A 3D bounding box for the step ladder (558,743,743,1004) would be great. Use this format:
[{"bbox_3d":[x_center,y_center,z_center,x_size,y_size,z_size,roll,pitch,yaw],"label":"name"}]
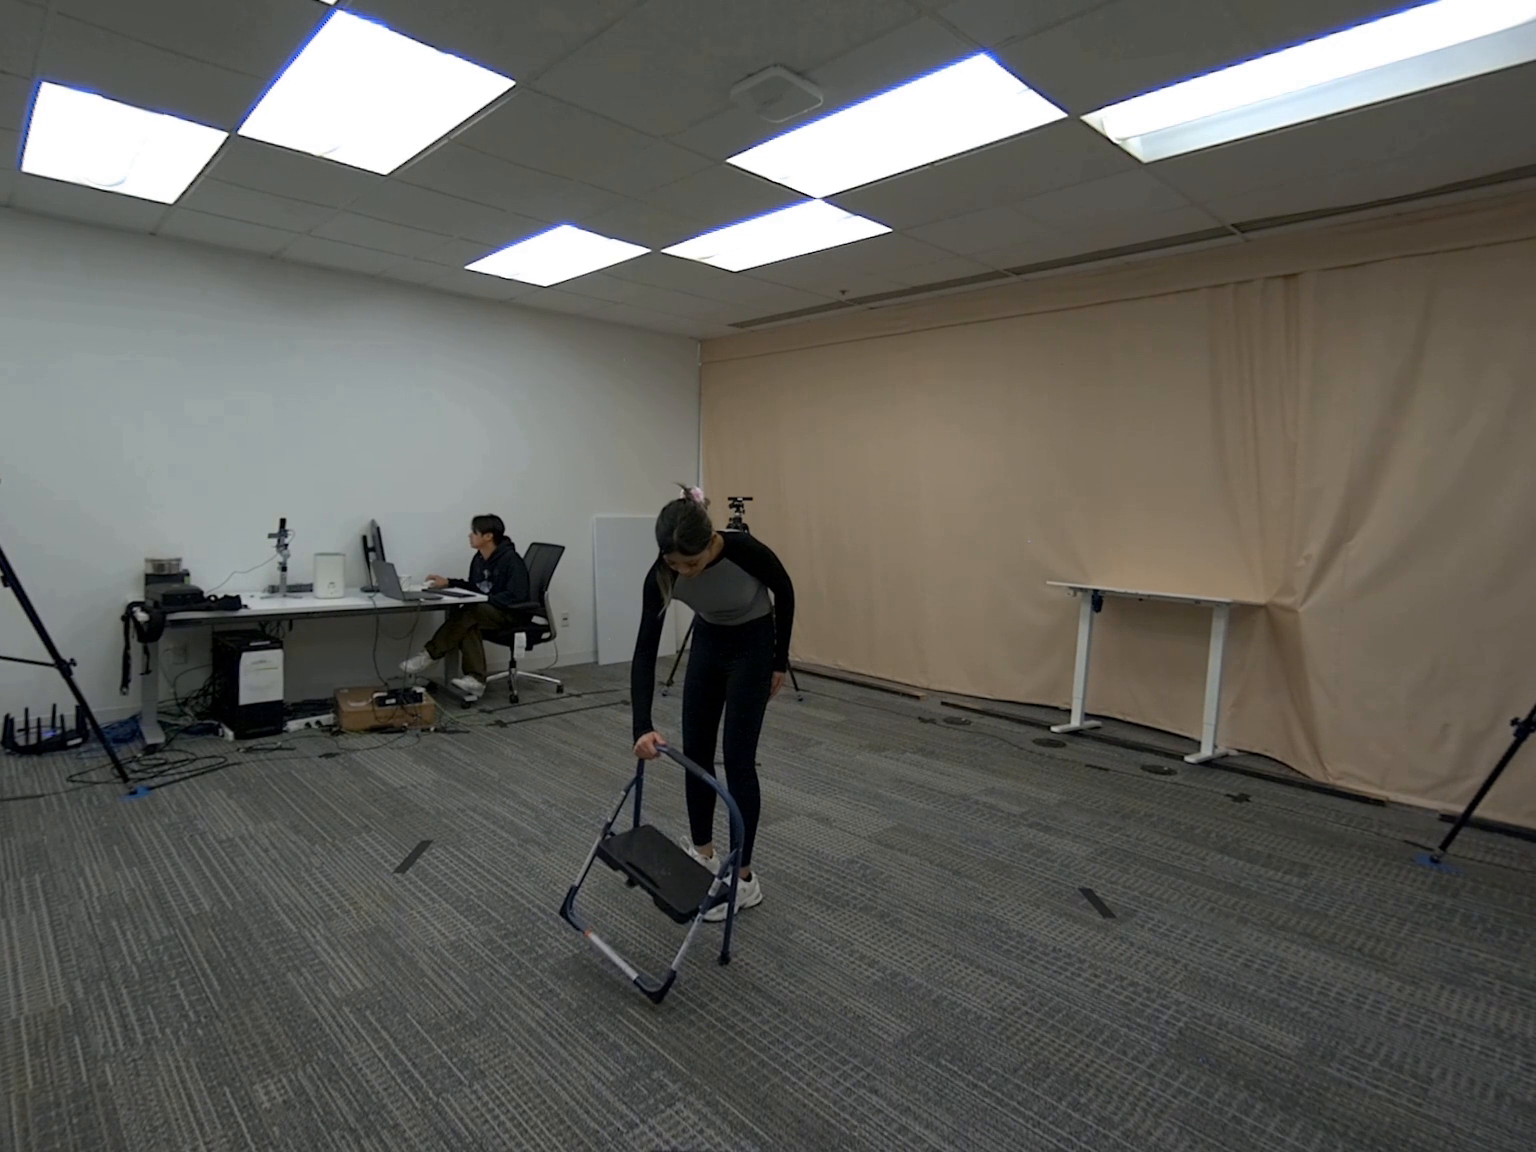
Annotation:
[{"bbox_3d":[-0.282,0.804,2.445,0.443,0.603,0.341,25,13,31],"label":"step ladder"}]
